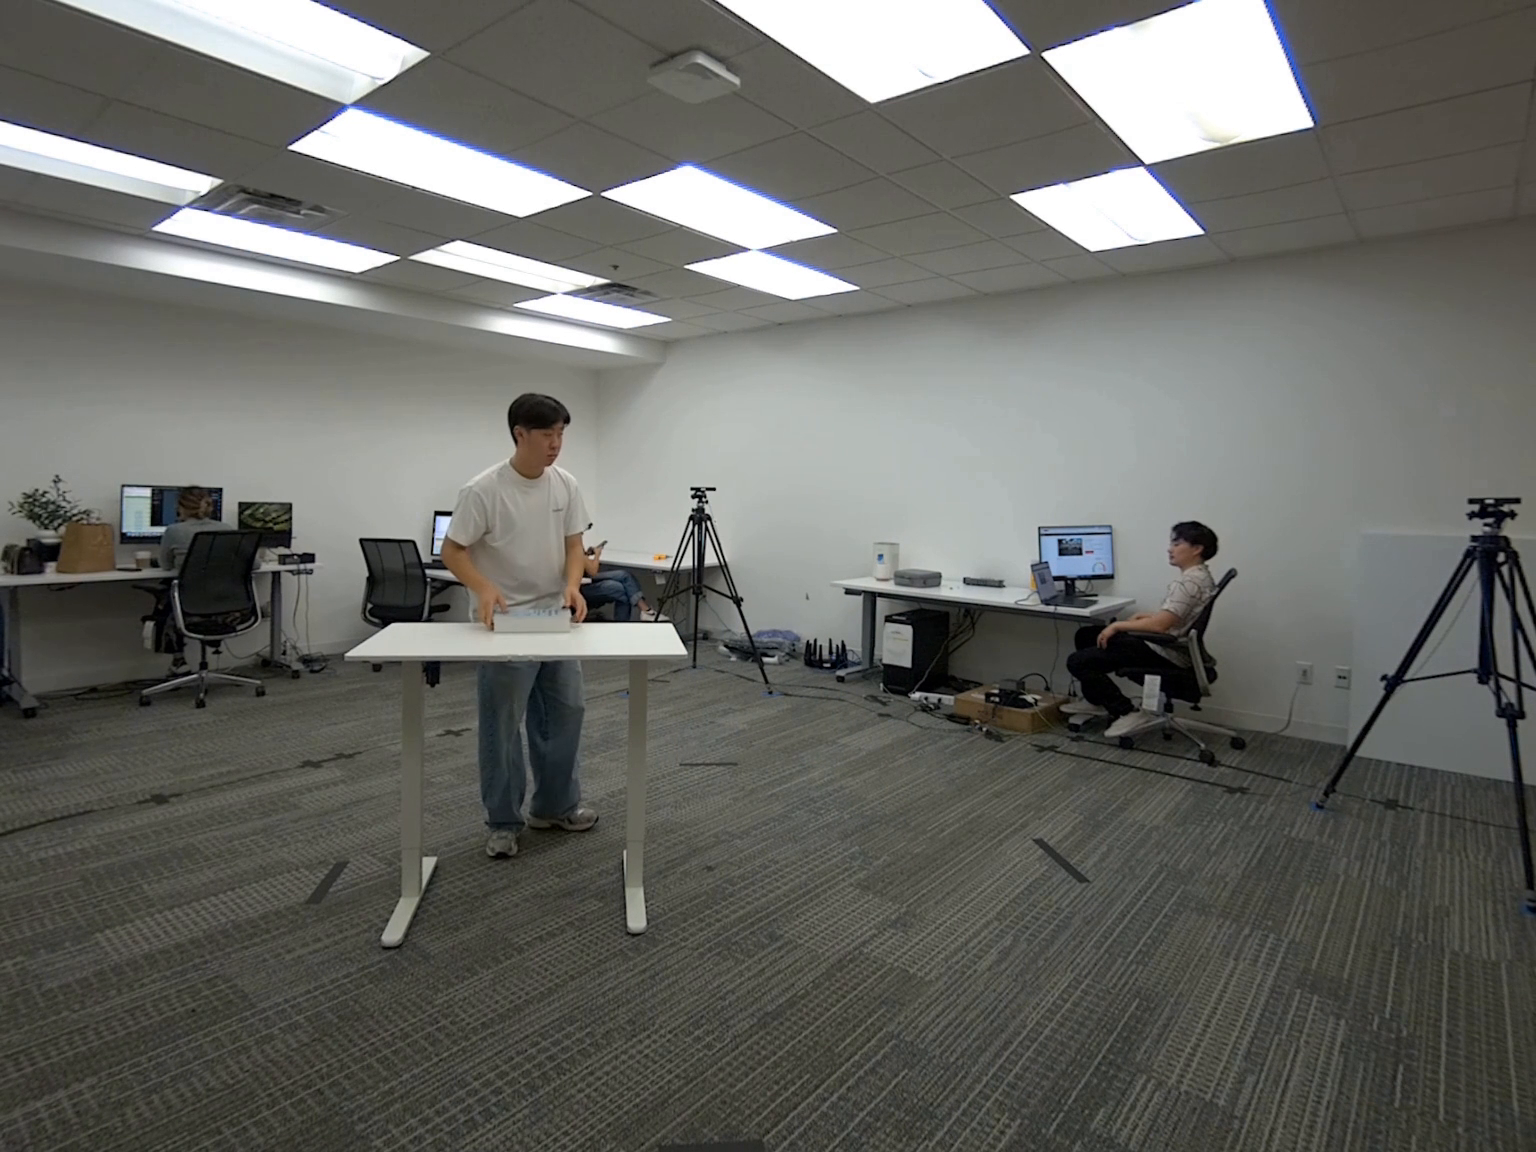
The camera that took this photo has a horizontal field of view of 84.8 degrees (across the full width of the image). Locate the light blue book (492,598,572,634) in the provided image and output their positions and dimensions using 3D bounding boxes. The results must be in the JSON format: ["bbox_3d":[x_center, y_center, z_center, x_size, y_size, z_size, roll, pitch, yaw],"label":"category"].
[{"bbox_3d":[-0.857,0.154,2.998,0.258,0.059,0.194,-1,6,-11],"label":"light blue book"}]
